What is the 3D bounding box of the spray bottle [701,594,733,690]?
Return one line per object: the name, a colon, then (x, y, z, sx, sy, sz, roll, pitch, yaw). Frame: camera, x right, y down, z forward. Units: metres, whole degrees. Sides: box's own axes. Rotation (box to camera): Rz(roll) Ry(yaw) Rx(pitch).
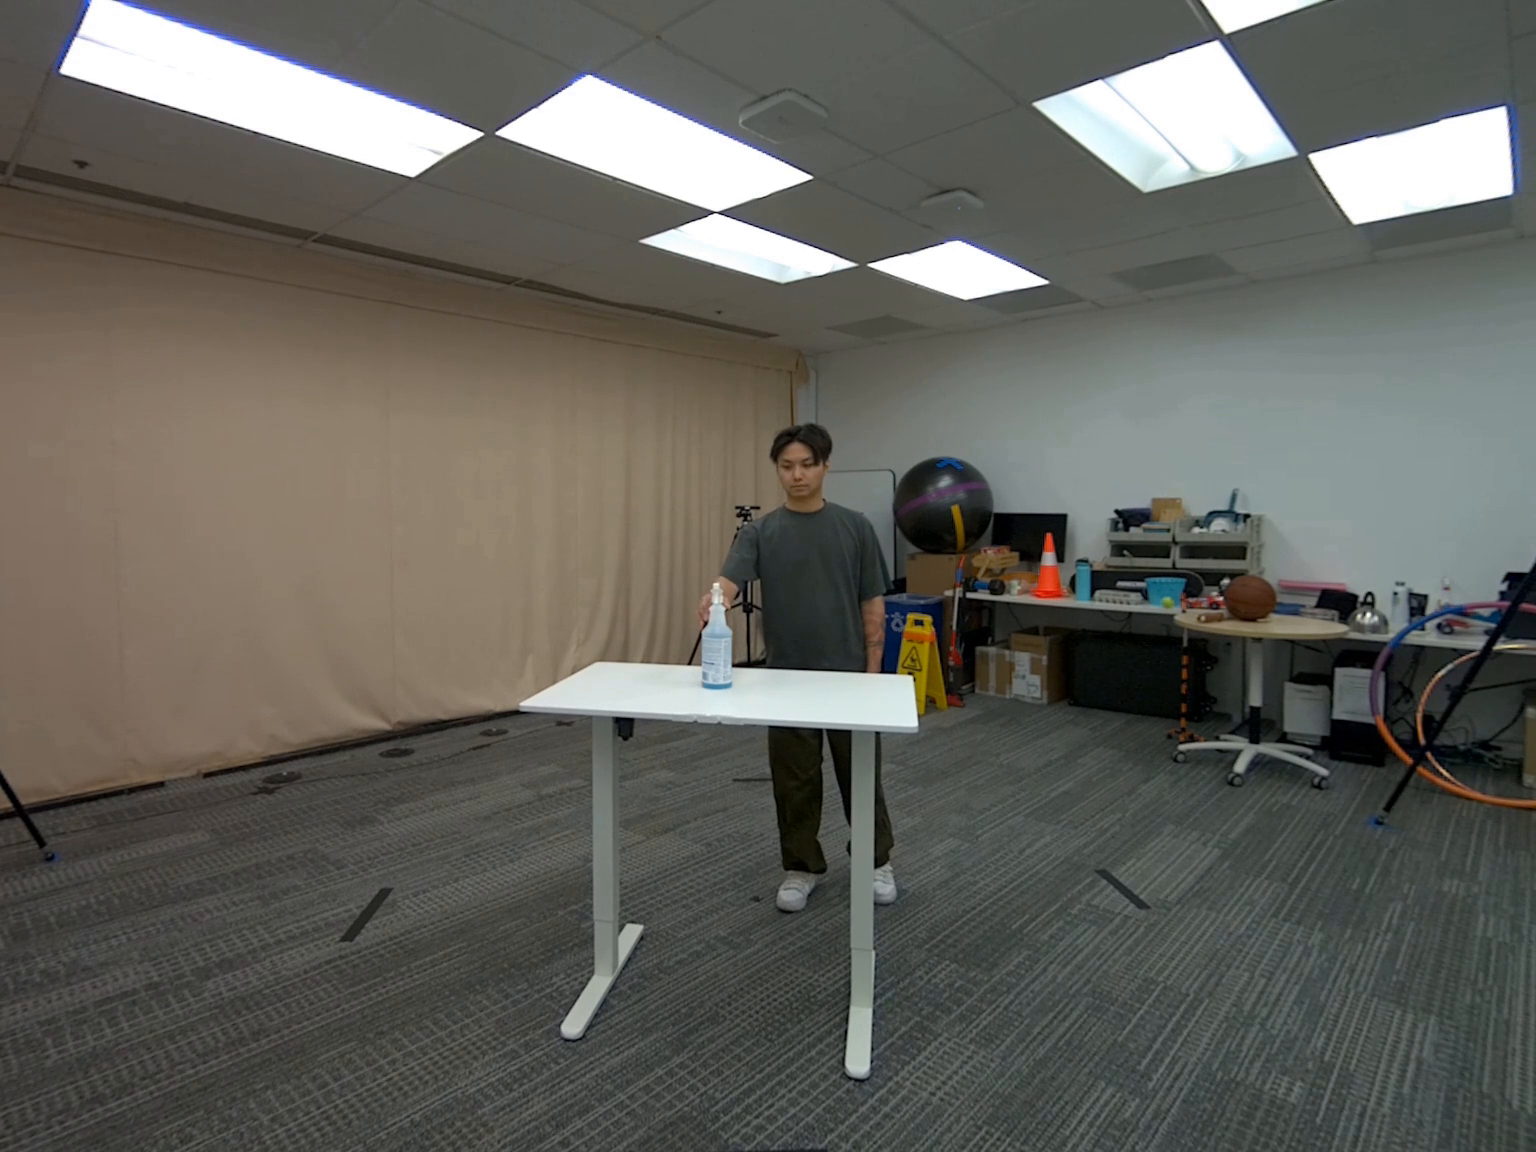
spray bottle: (-0.141, 0.168, 2.375, 0.089, 0.296, 0.088, 3, 5, 27)
